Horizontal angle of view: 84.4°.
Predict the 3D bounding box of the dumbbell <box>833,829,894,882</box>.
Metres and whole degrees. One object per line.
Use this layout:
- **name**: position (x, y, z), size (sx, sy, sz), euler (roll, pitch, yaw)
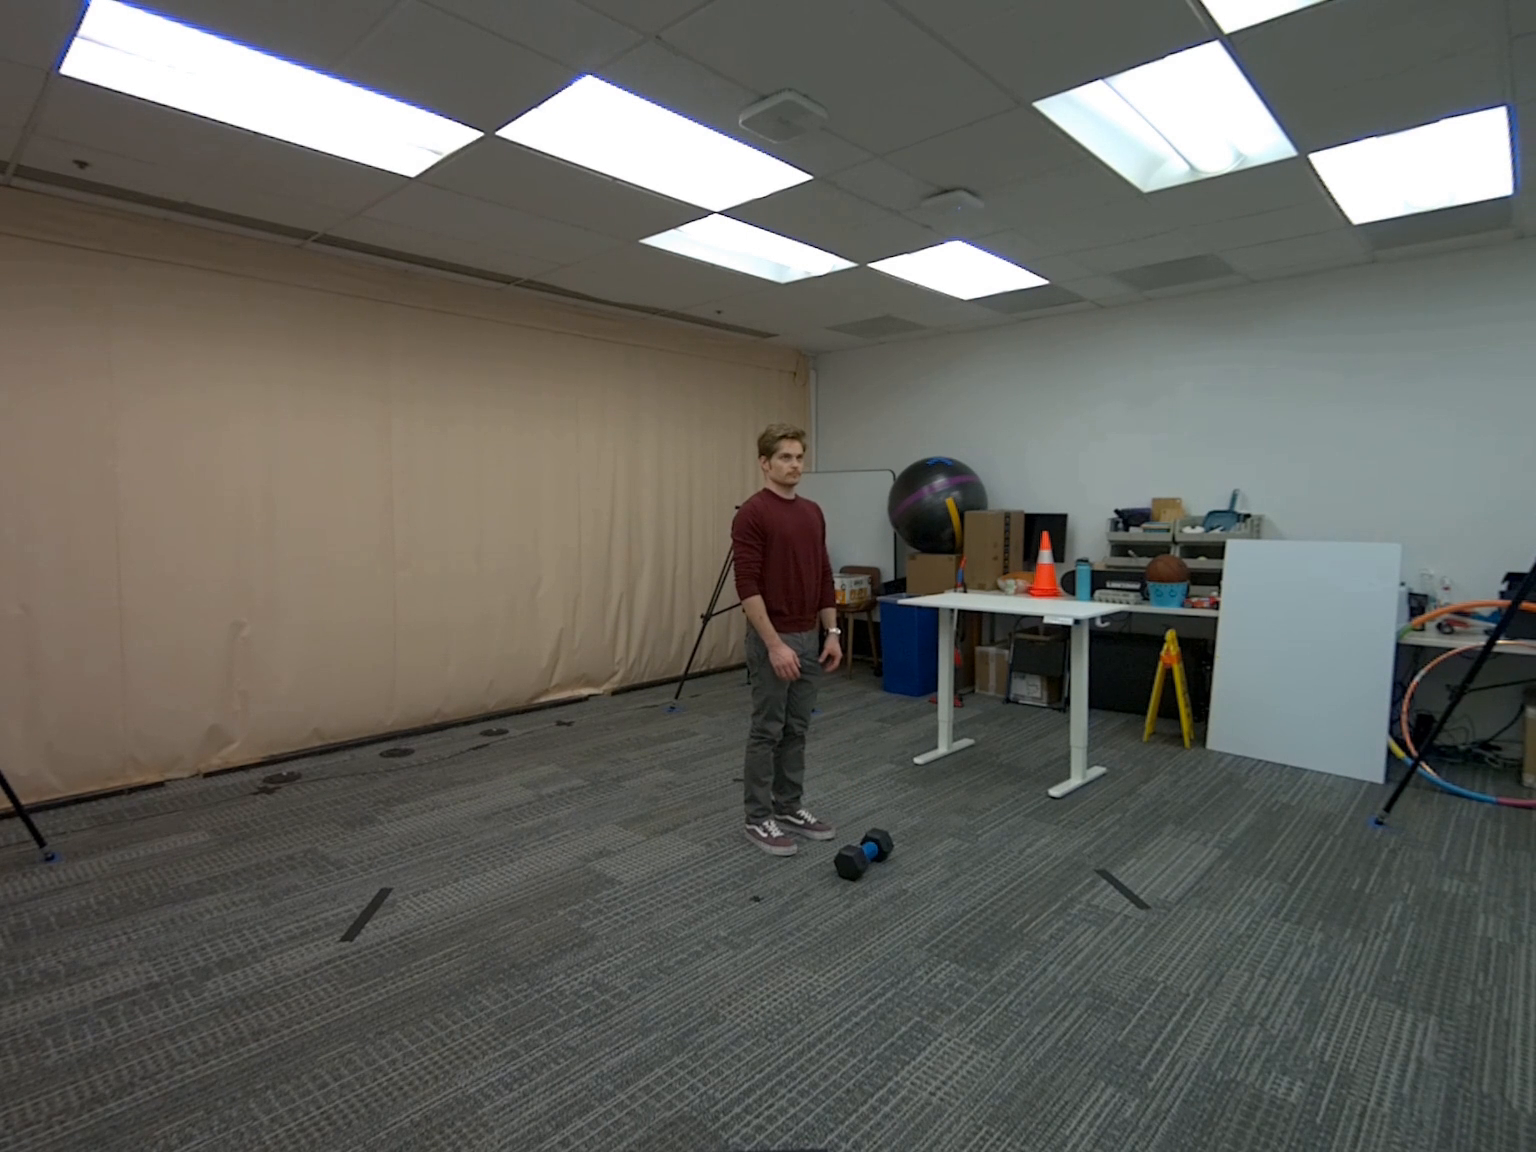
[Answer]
- **dumbbell**: position (0.373, 1.067, 3.238), size (0.110, 0.125, 0.285), euler (-32, -15, 33)
